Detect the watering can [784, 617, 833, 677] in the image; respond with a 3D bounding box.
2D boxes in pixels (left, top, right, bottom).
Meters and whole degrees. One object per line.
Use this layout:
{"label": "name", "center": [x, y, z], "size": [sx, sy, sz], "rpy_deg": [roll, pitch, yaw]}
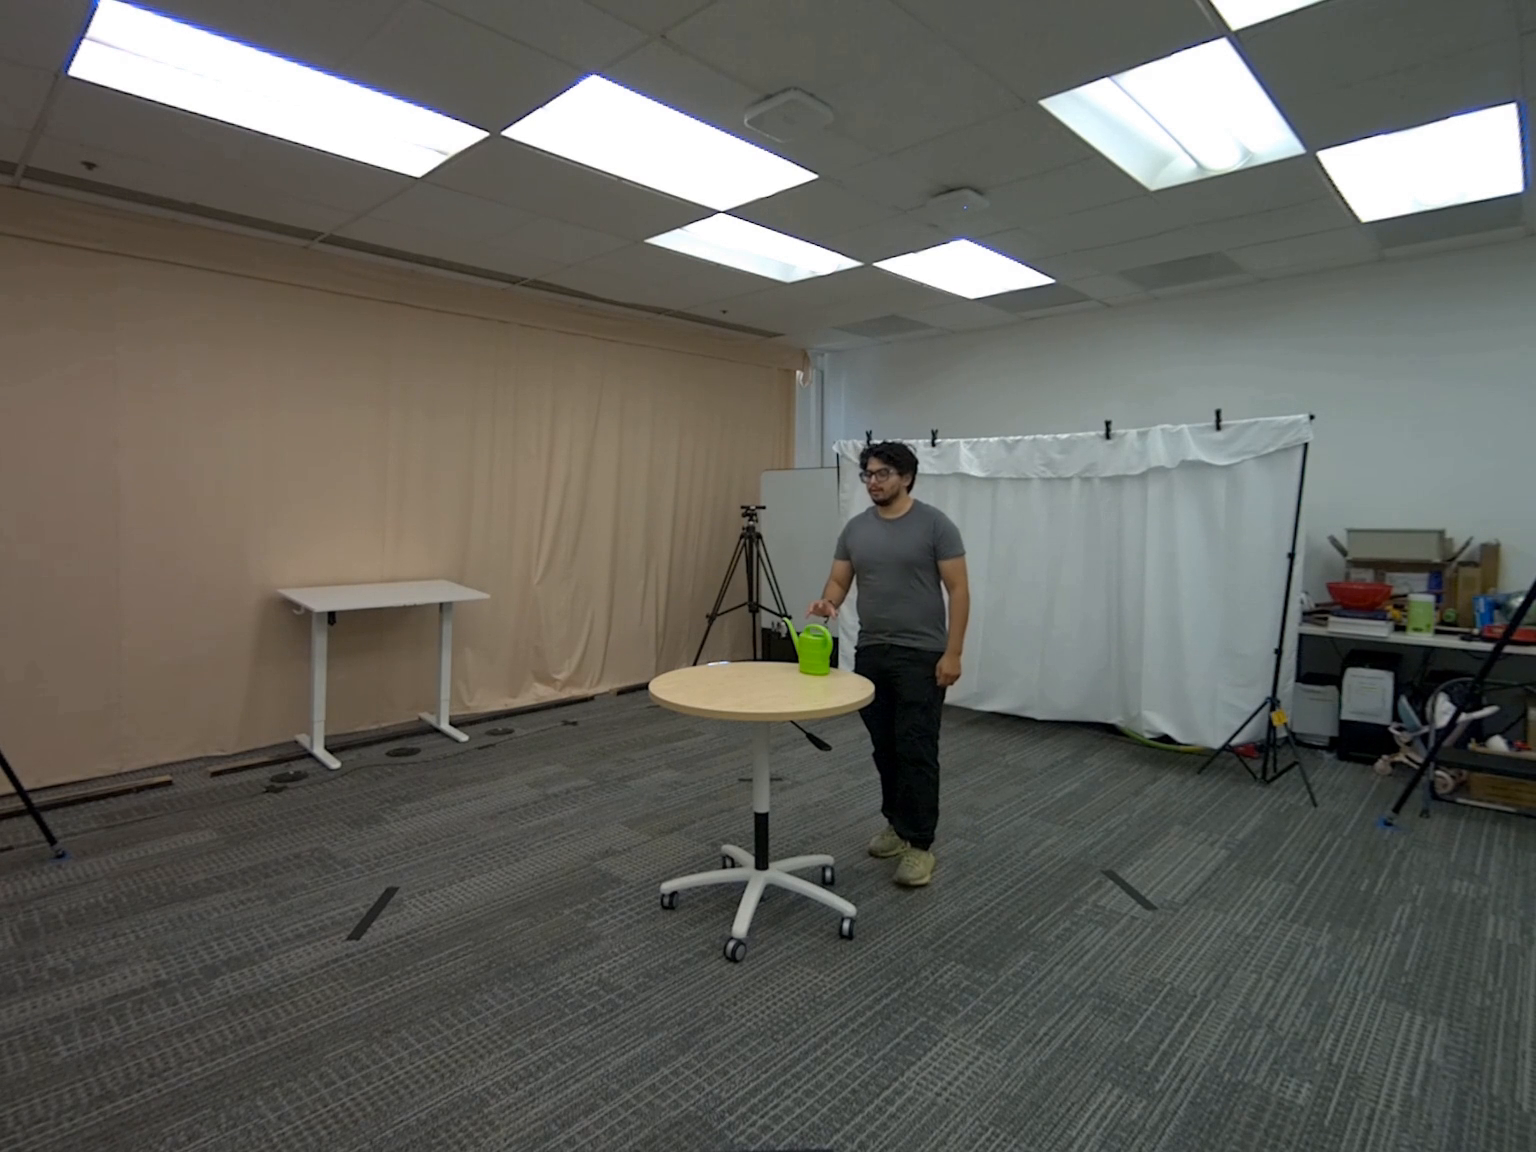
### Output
{"label": "watering can", "center": [0.151, 0.261, 3.100], "size": [0.096, 0.176, 0.284], "rpy_deg": [-1, 6, -20]}
